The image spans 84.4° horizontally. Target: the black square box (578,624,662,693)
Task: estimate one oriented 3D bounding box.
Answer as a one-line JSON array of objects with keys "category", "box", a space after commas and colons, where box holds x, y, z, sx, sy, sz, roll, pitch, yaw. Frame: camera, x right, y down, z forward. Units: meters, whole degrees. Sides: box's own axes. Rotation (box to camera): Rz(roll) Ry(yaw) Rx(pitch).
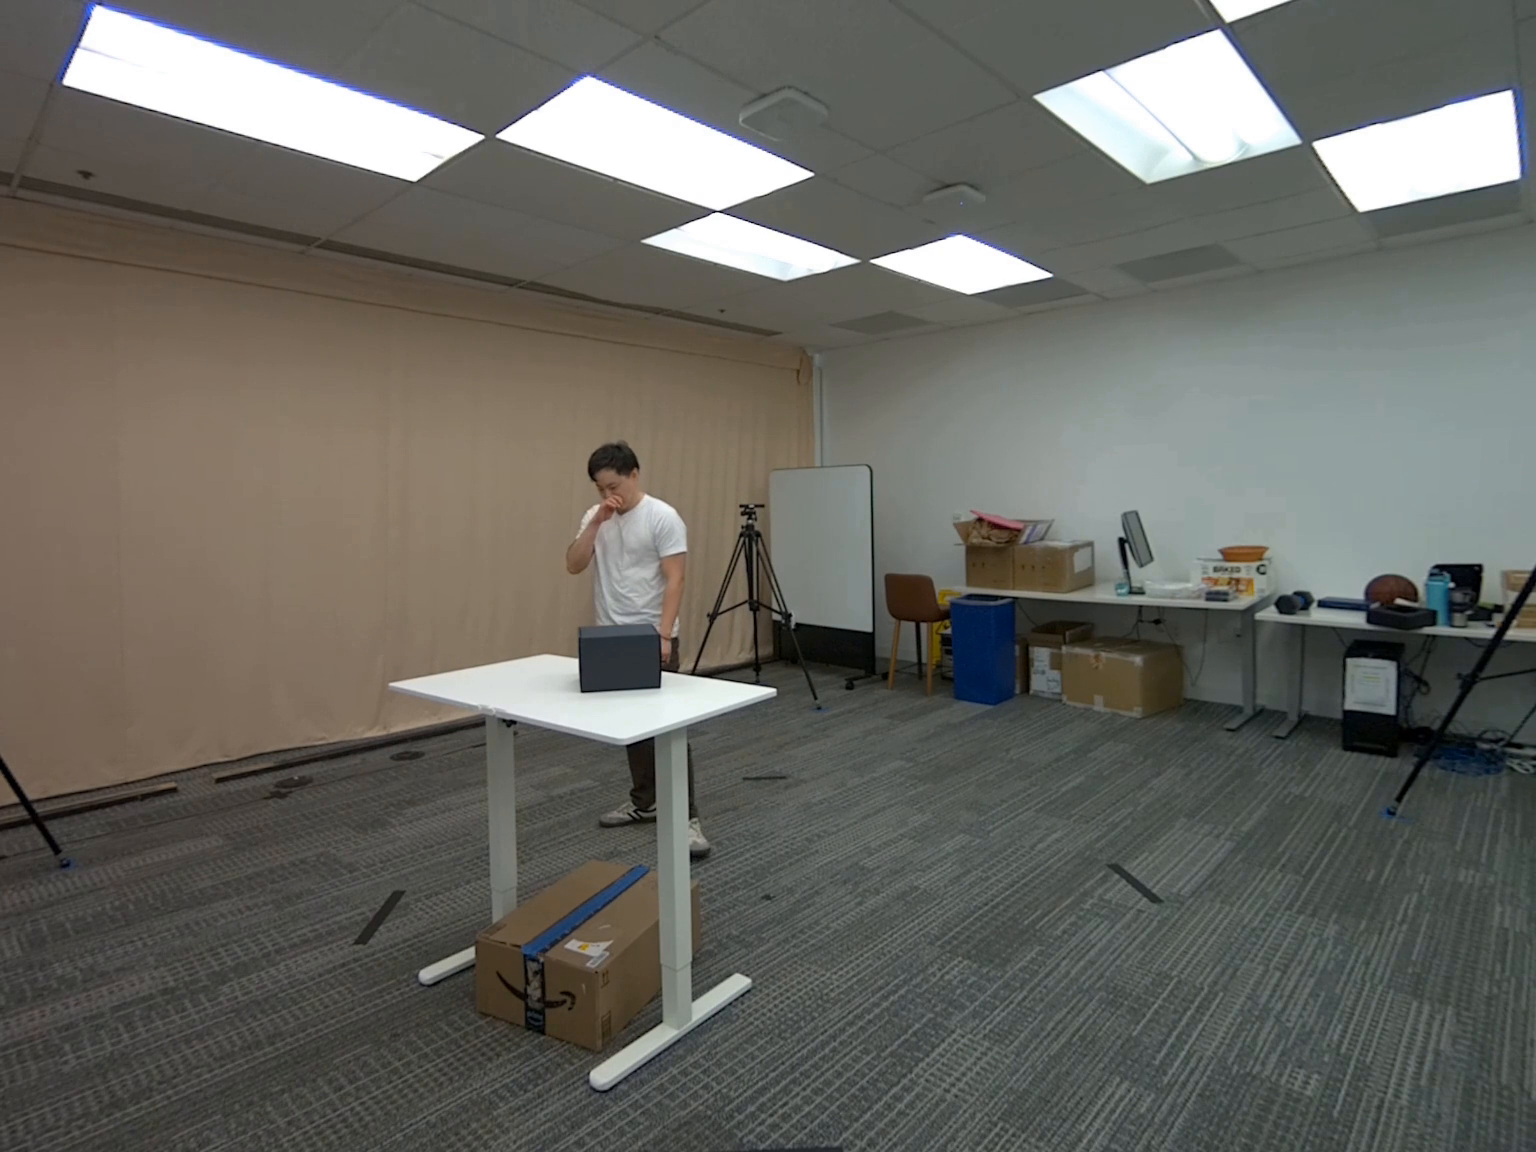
[{"category": "black square box", "box": [-0.435, 0.233, 2.448, 0.225, 0.155, 0.220, -2, 5, -13]}]
